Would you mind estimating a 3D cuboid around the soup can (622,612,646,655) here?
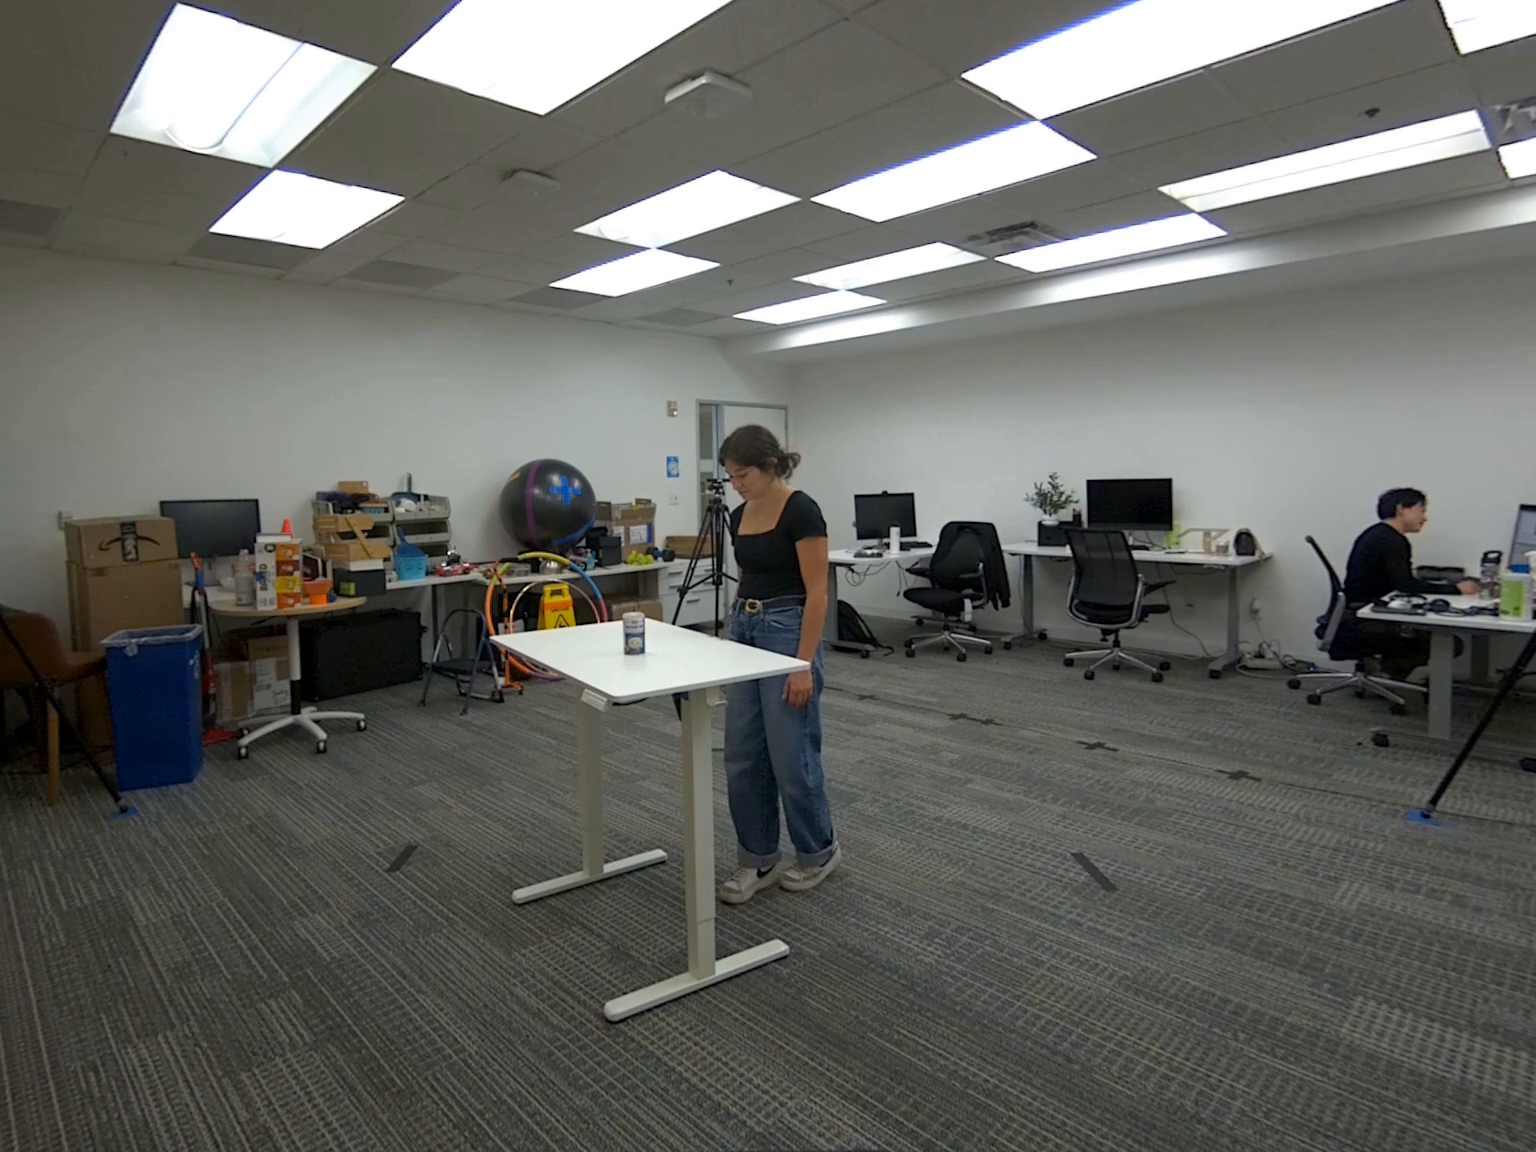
[{"bbox_3d":[-0.398,0.175,2.559,0.067,0.121,0.067,-1,1,-2],"label":"soup can"}]
